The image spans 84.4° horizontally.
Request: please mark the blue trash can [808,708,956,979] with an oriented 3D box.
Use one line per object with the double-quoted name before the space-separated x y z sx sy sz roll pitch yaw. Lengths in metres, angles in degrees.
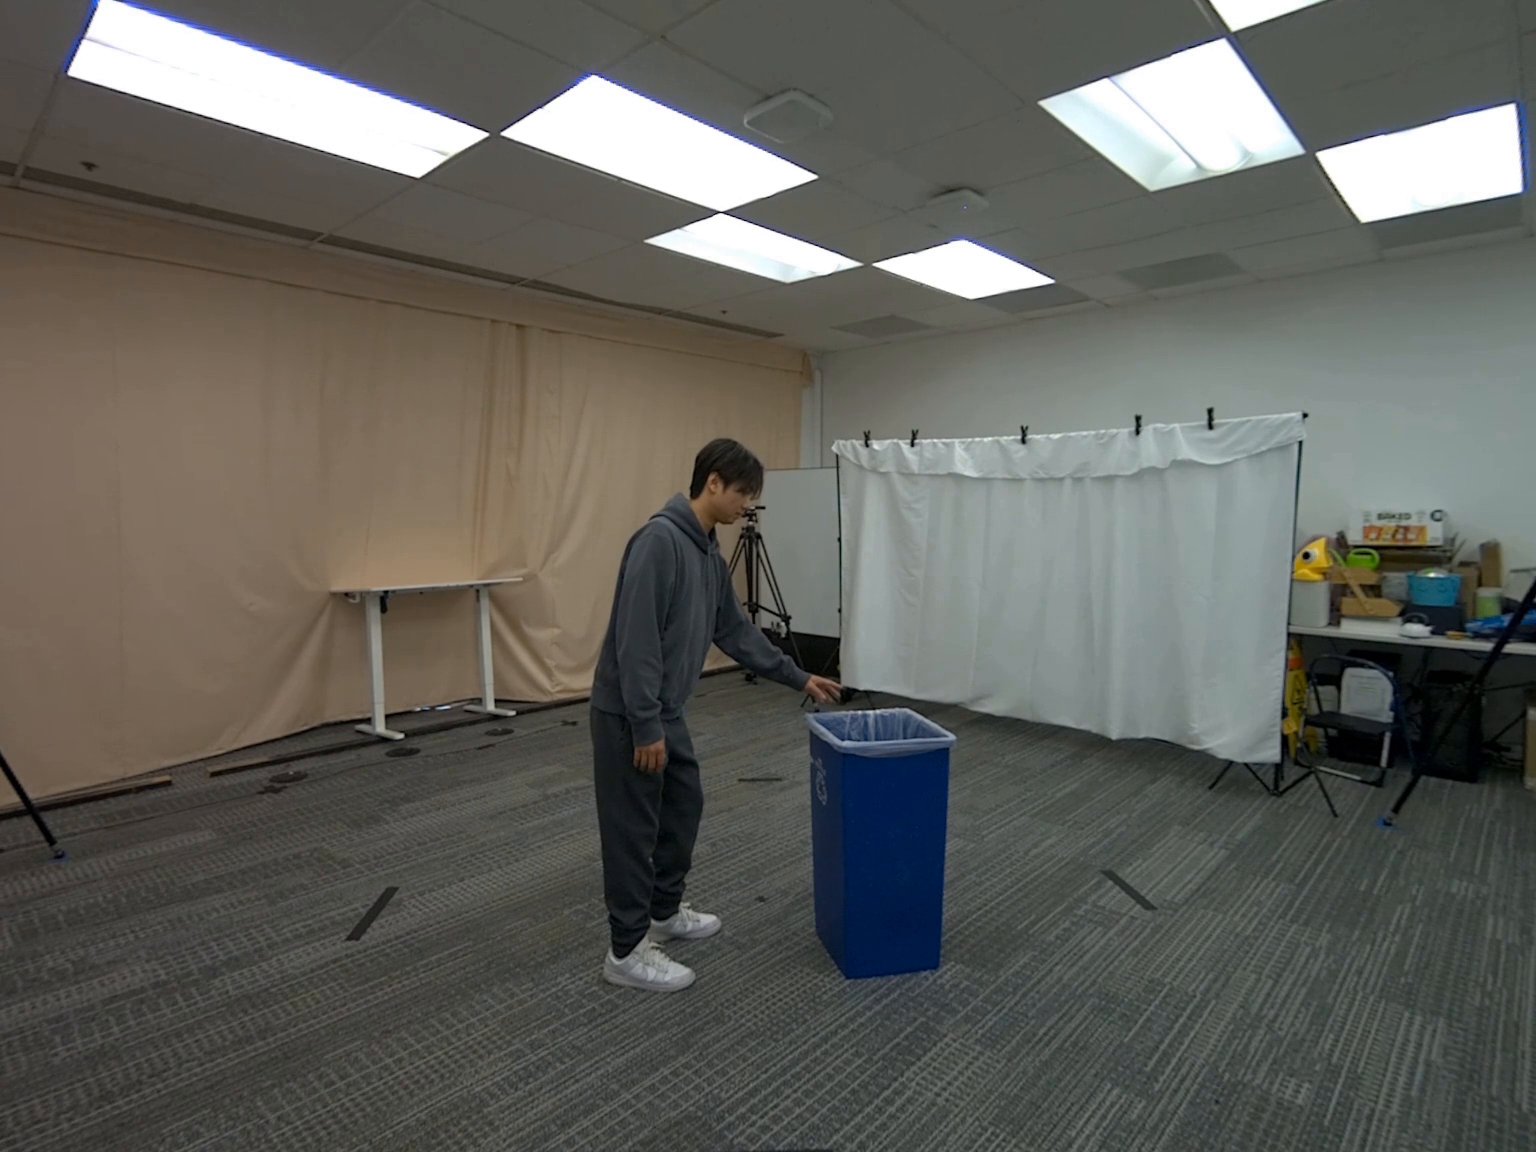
"blue trash can" 0.343 0.815 2.619 0.373 0.712 0.380 -1 3 -13
